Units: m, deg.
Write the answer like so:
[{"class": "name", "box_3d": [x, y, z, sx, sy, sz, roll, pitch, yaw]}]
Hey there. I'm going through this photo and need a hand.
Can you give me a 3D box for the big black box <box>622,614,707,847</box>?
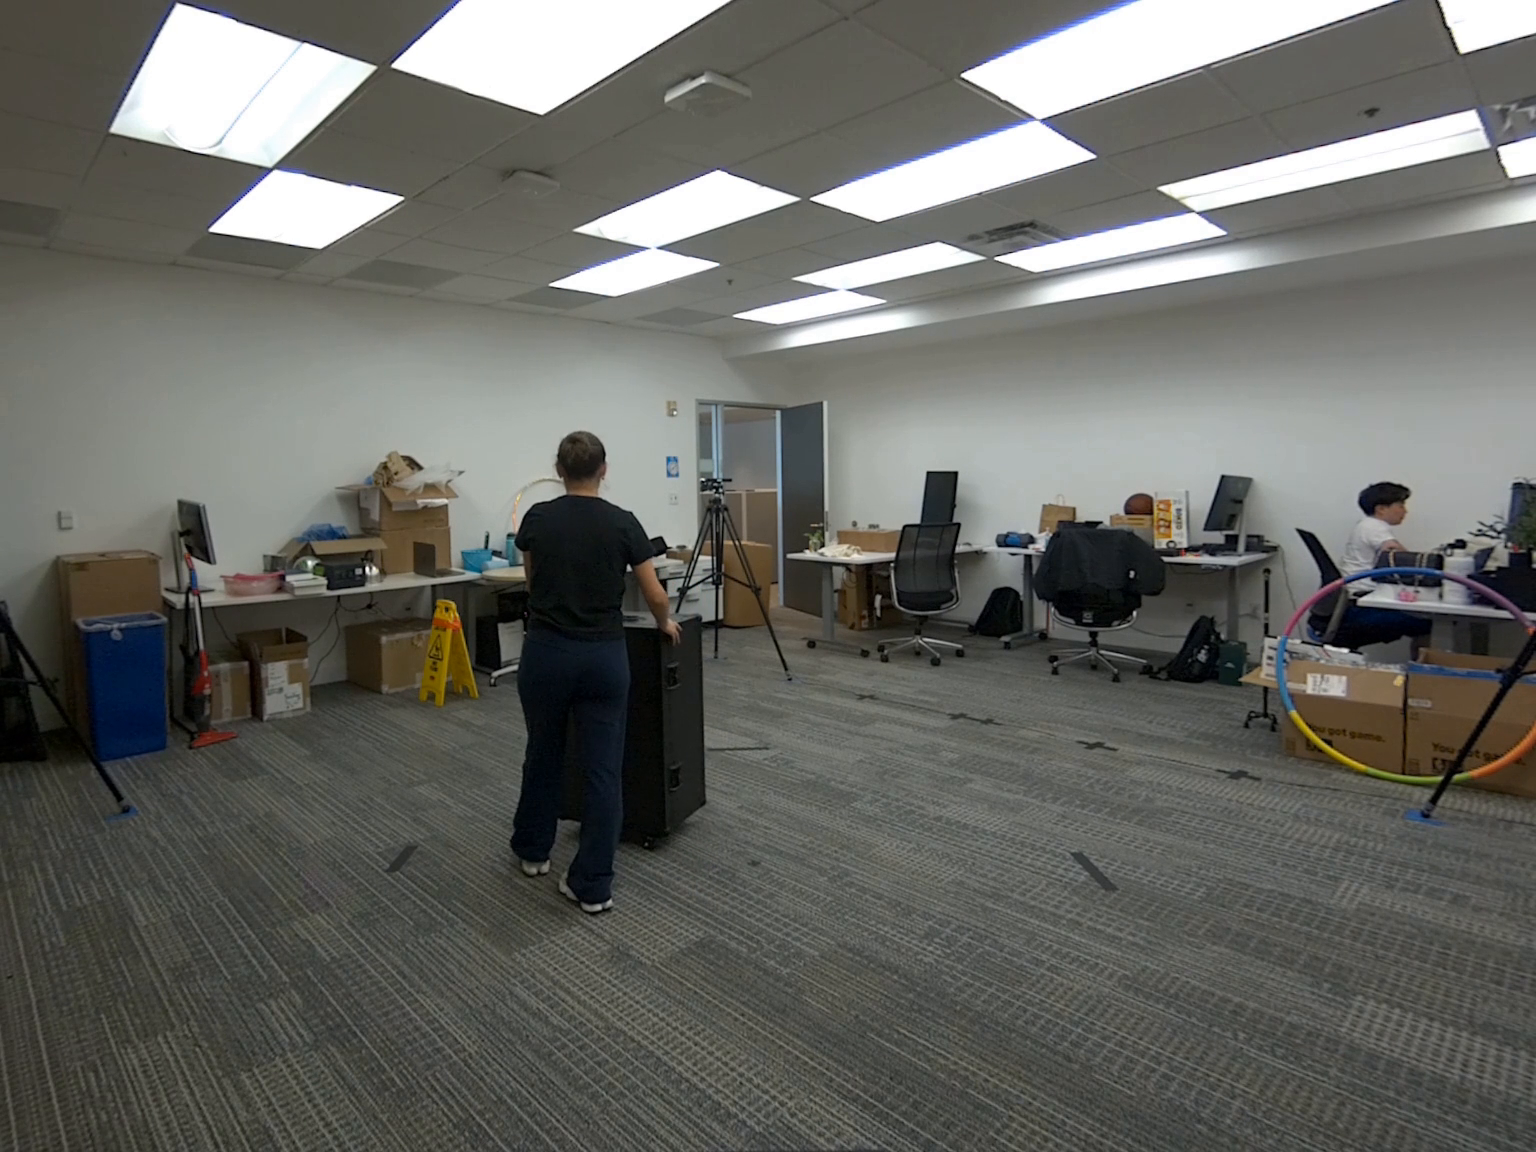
[{"class": "big black box", "box_3d": [-0.546, 0.593, 3.438, 0.532, 0.860, 0.389, 0, 2, 23]}]
